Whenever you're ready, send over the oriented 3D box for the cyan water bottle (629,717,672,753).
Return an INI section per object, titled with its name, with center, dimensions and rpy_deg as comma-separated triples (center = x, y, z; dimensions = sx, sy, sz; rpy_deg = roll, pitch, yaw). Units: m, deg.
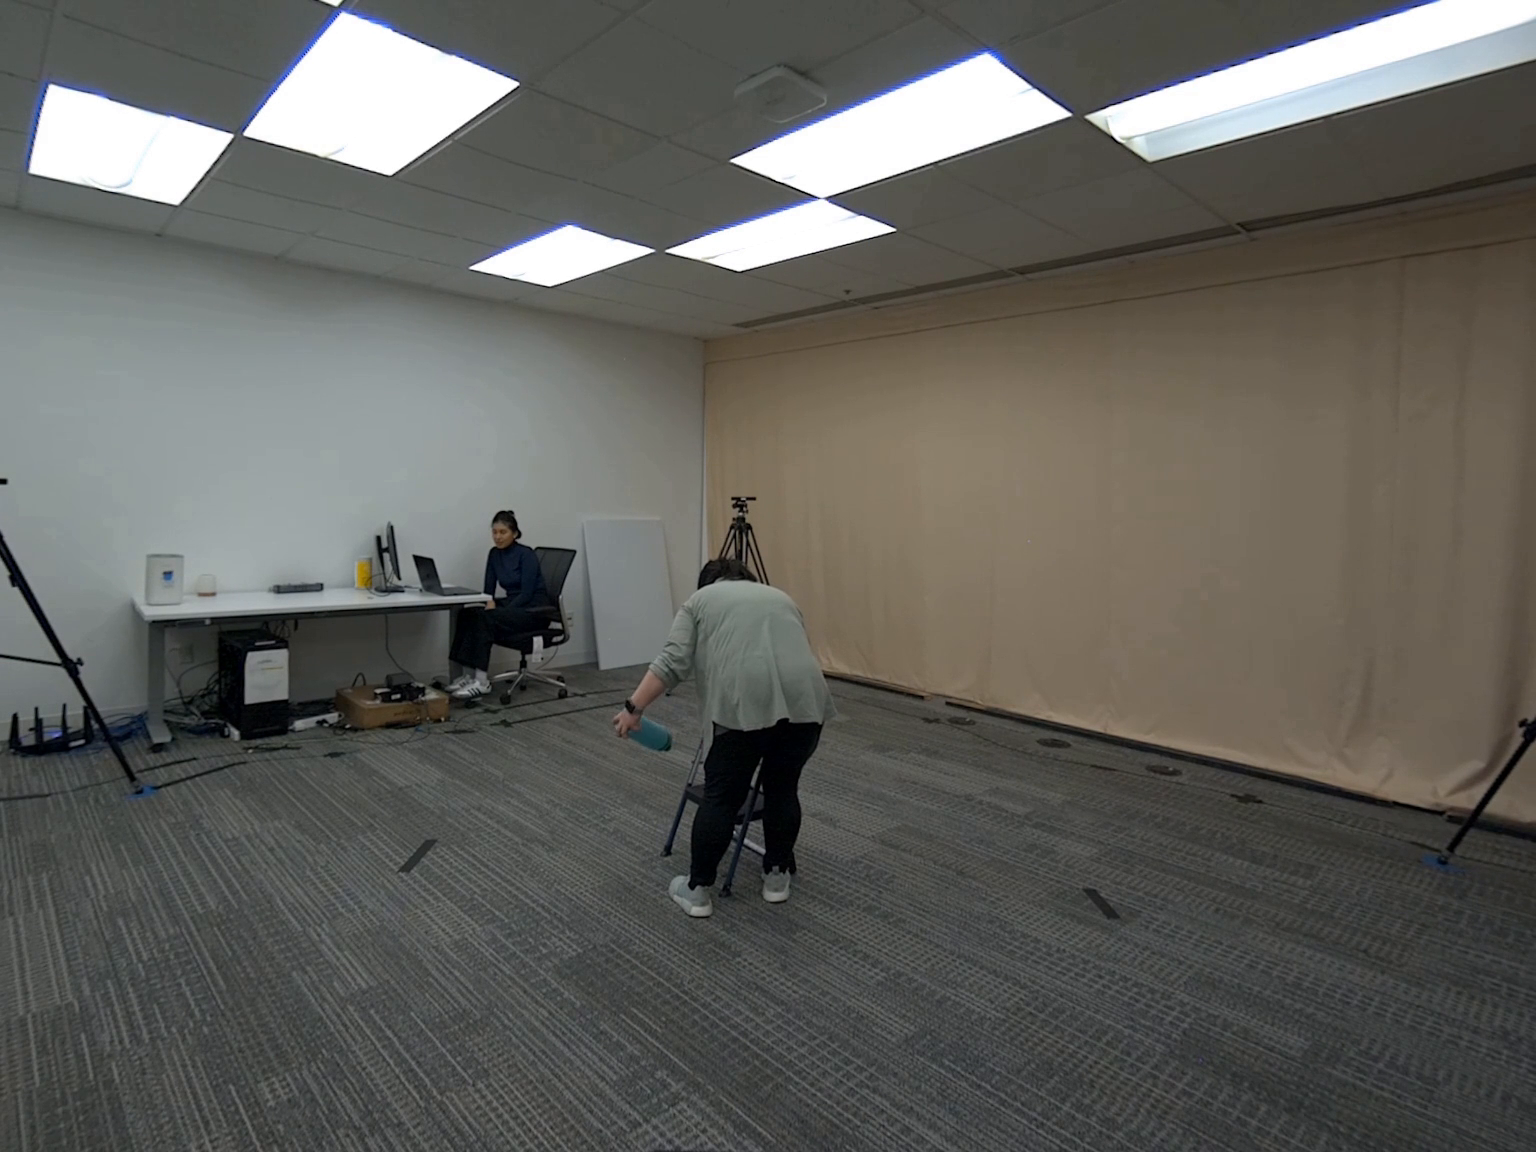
[cyan water bottle]
center = -0.439, 0.554, 3.012
dimensions = 0.094, 0.093, 0.274
rpy_deg = 4, -23, 29
